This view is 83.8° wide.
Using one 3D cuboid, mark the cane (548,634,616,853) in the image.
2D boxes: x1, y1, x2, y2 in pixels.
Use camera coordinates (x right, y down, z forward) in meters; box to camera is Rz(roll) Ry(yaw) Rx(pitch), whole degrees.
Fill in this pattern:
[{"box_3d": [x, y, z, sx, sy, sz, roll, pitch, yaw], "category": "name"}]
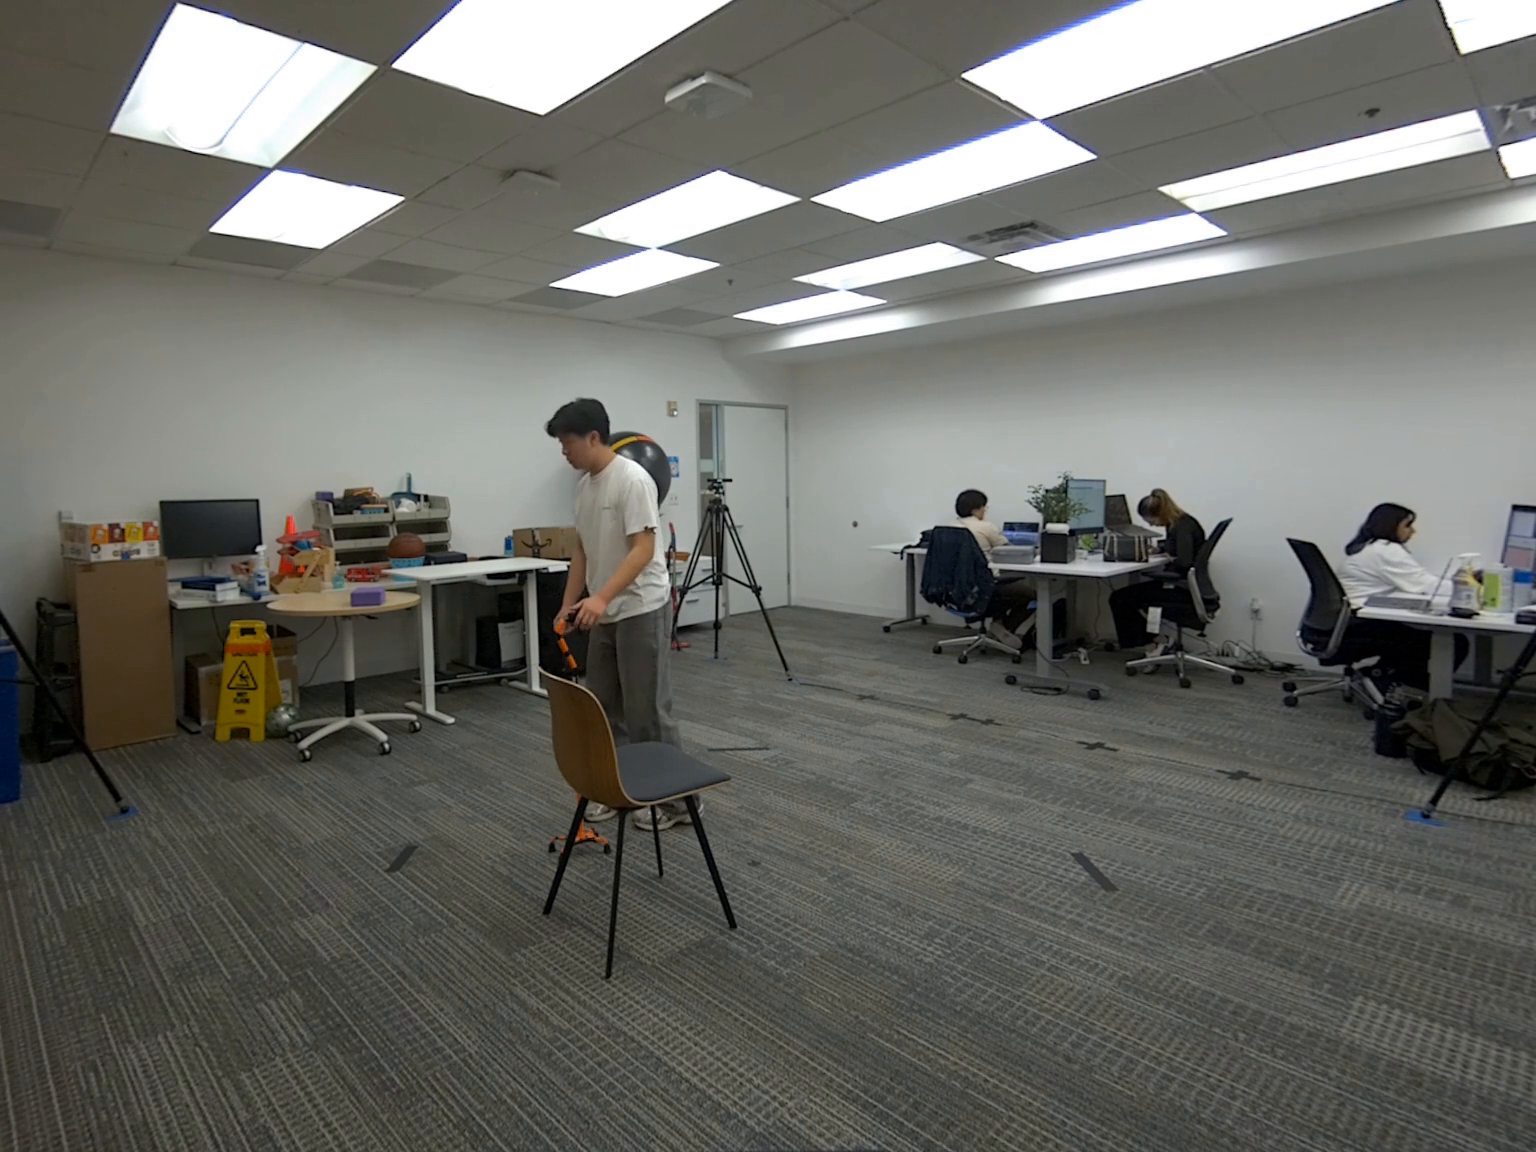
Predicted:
[{"box_3d": [-0.730, 0.601, 3.214, 0.201, 0.904, 0.156, -3, 5, -32], "category": "cane"}]
